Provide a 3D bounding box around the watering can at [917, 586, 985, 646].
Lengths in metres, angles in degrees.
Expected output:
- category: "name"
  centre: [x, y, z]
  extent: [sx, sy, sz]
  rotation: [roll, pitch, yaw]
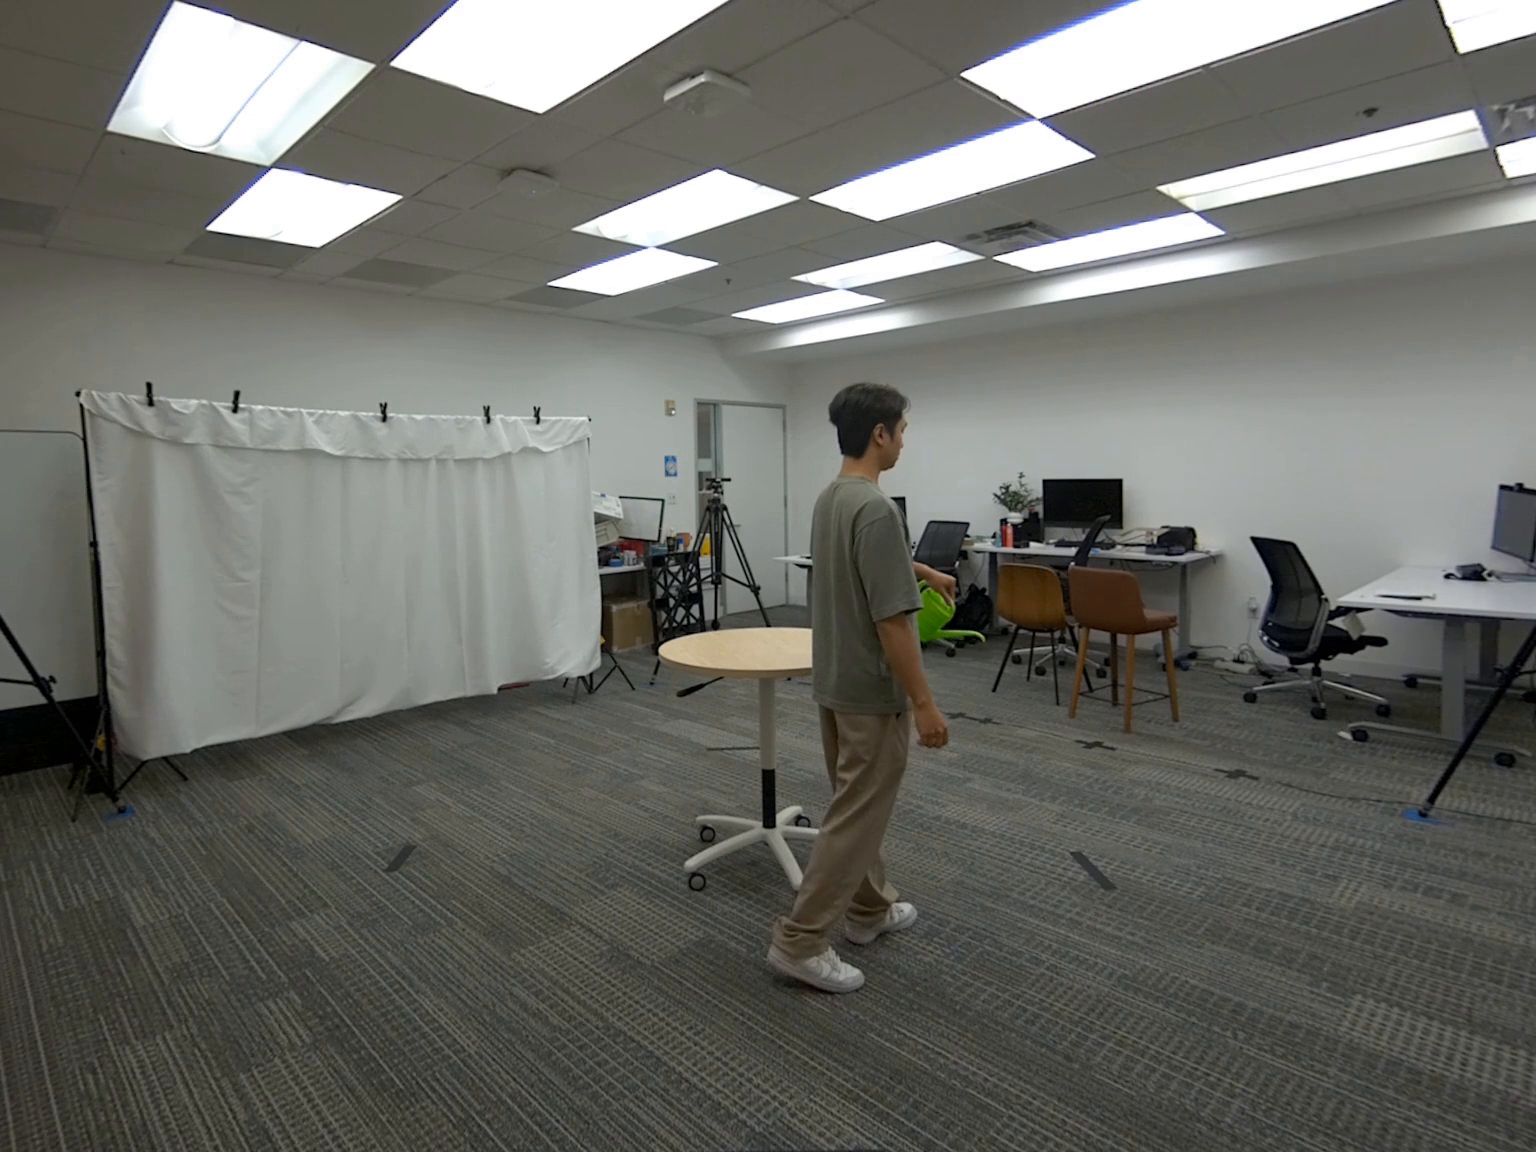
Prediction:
- category: "watering can"
  centre: [0.566, 0.152, 2.835]
  extent: [0.095, 0.288, 0.176]
  rotation: [9, -48, -44]
